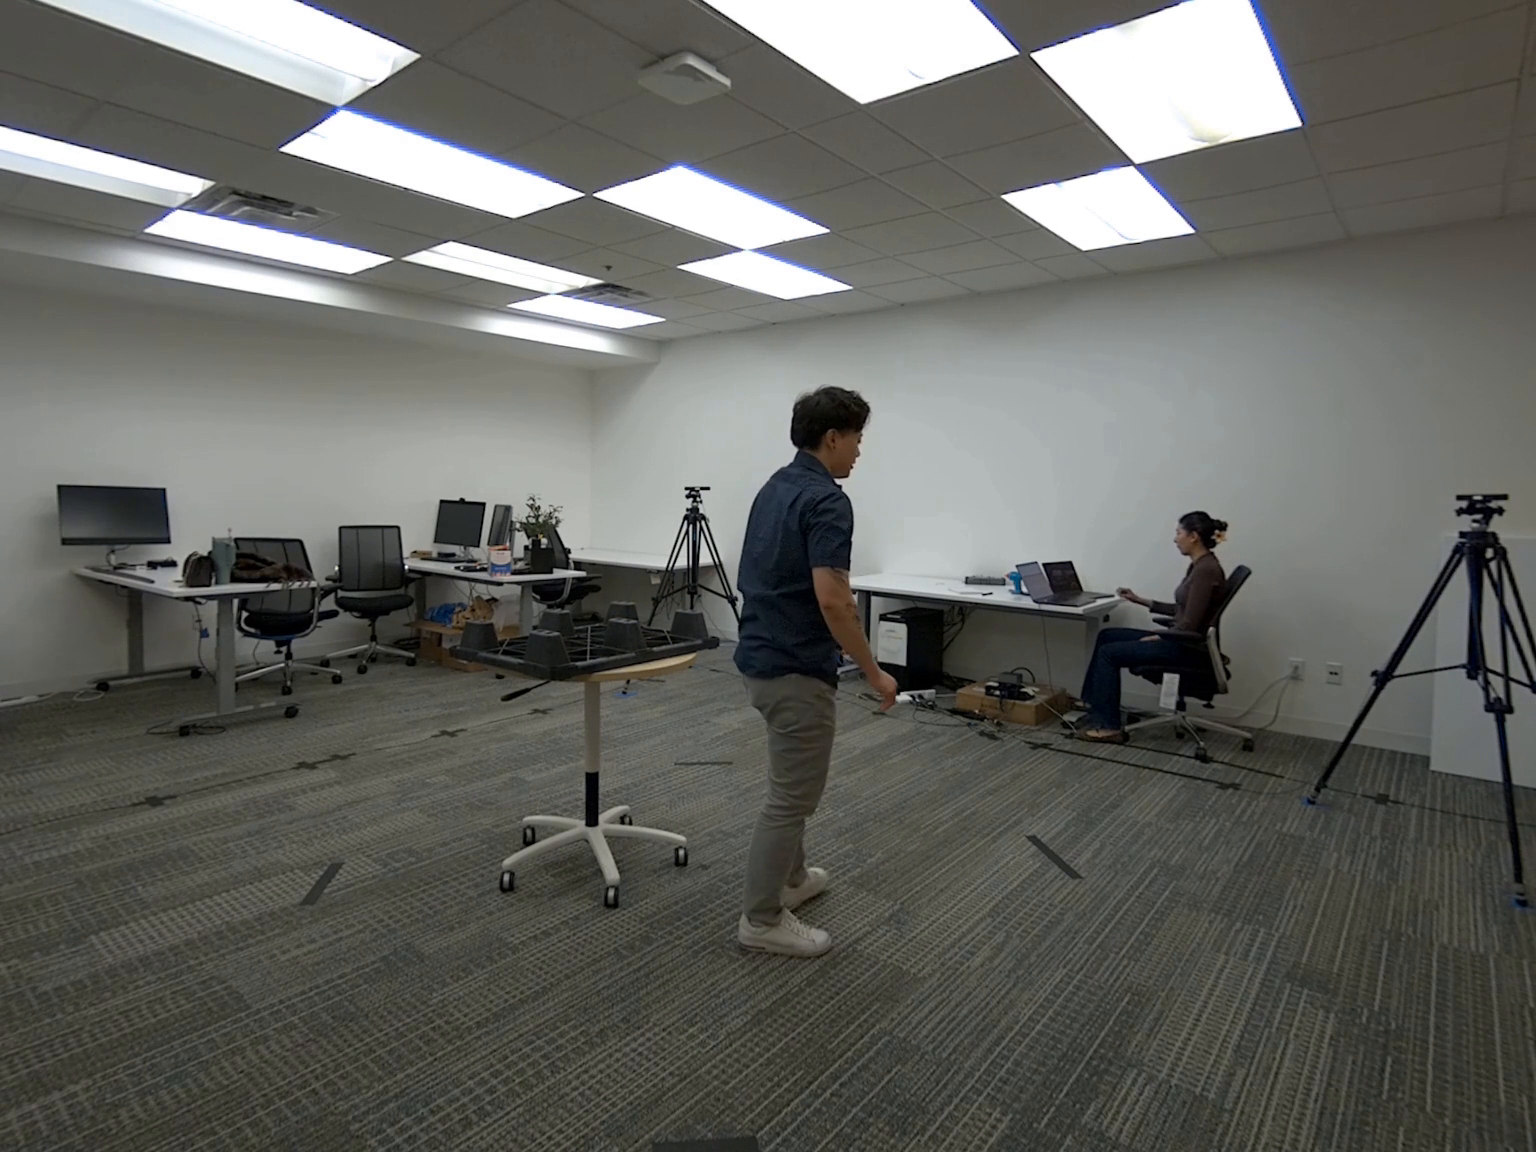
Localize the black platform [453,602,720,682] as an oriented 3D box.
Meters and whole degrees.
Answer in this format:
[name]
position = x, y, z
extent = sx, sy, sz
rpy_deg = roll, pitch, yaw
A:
[black platform]
position = -0.668, 0.212, 3.114
extent = 0.625, 0.143, 0.782
rpy_deg = 5, 7, 39
